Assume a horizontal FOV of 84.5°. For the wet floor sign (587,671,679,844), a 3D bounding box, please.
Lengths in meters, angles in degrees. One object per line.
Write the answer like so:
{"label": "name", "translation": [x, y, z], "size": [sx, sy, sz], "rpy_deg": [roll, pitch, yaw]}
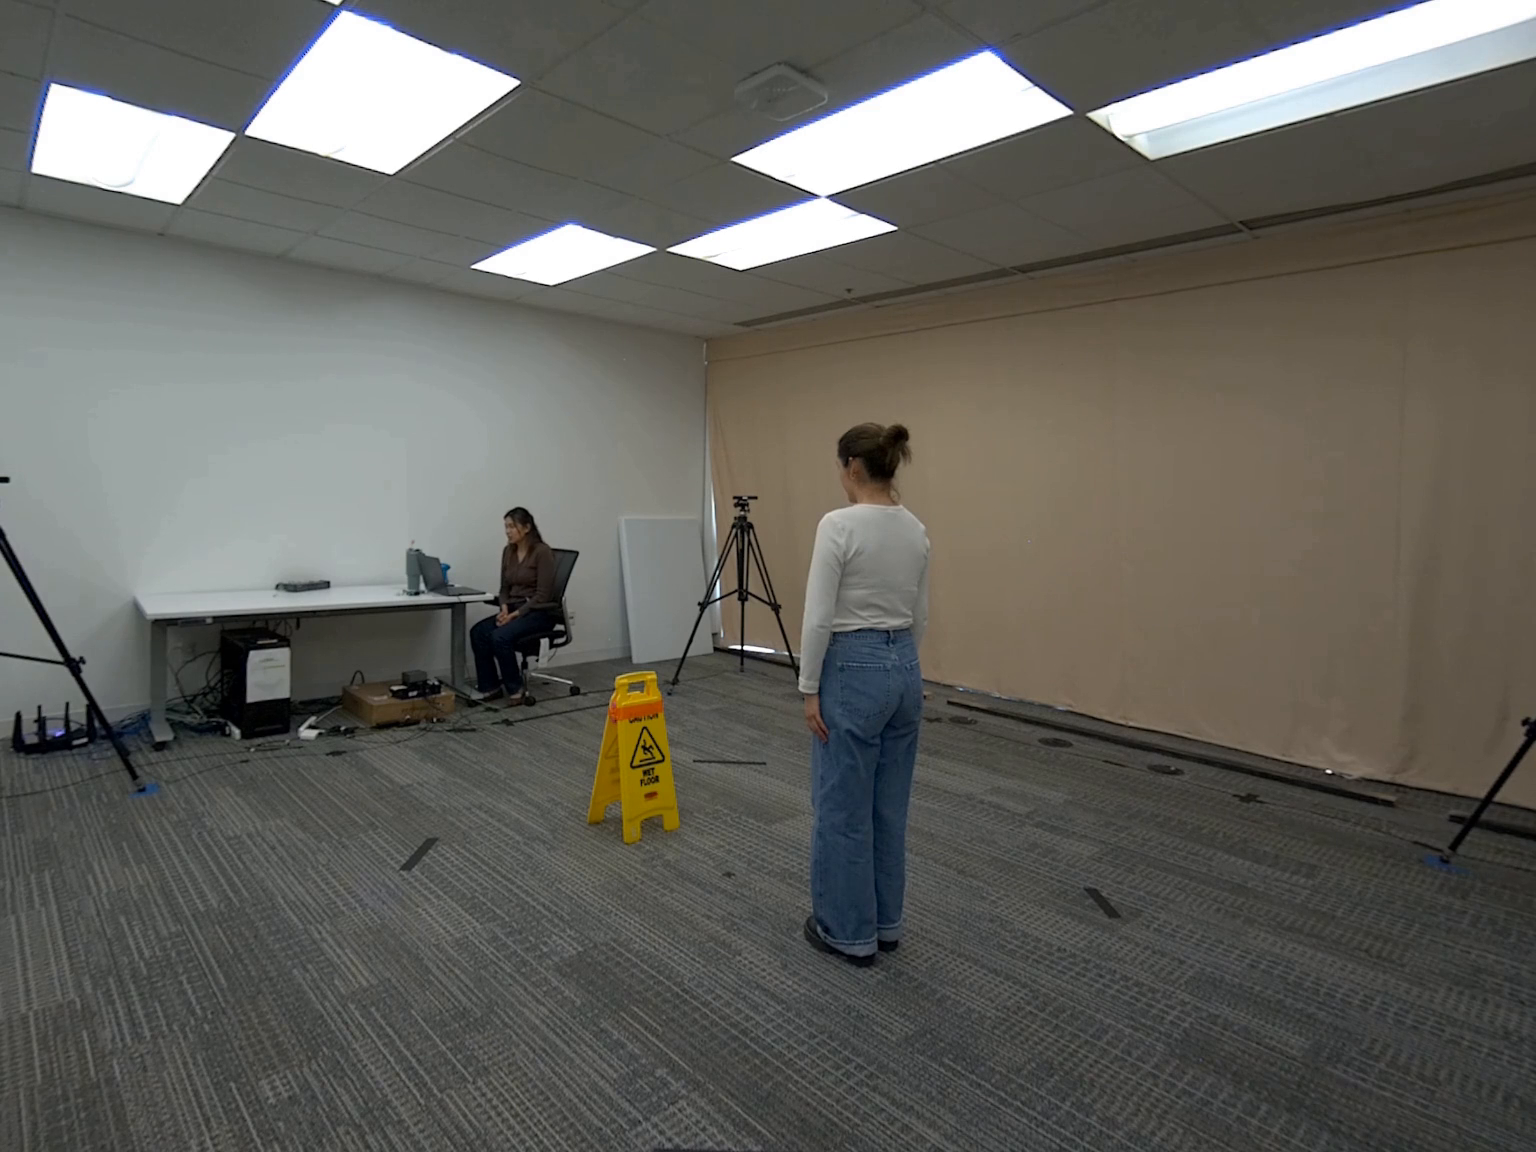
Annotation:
{"label": "wet floor sign", "translation": [-0.569, 0.731, 3.535], "size": [0.275, 0.645, 0.297], "rpy_deg": [0, 3, -45]}
